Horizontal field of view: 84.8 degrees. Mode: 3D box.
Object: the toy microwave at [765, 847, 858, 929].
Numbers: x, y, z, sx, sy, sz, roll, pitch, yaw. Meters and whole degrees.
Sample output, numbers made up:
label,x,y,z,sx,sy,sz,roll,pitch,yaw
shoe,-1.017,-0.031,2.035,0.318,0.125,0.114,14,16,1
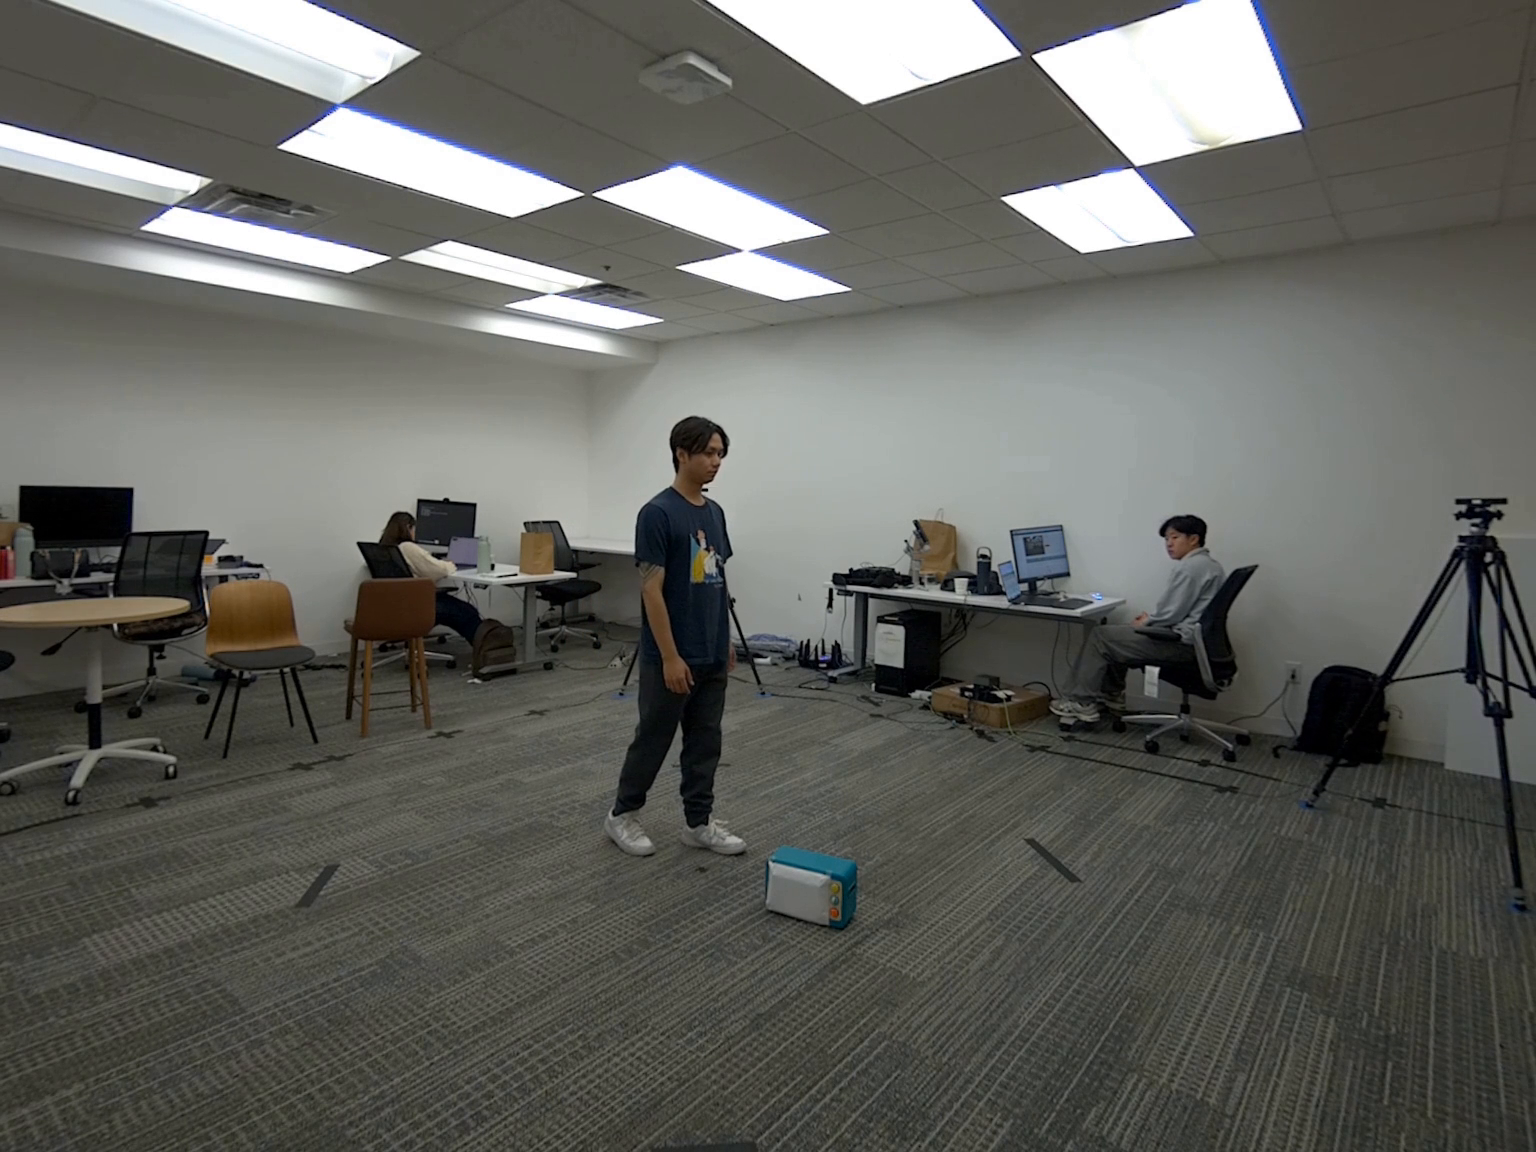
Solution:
label,x,y,z,sx,sy,sz,roll,pitch,yaw
toy microwave,0.129,1.015,2.789,0.294,0.183,0.149,5,5,25
